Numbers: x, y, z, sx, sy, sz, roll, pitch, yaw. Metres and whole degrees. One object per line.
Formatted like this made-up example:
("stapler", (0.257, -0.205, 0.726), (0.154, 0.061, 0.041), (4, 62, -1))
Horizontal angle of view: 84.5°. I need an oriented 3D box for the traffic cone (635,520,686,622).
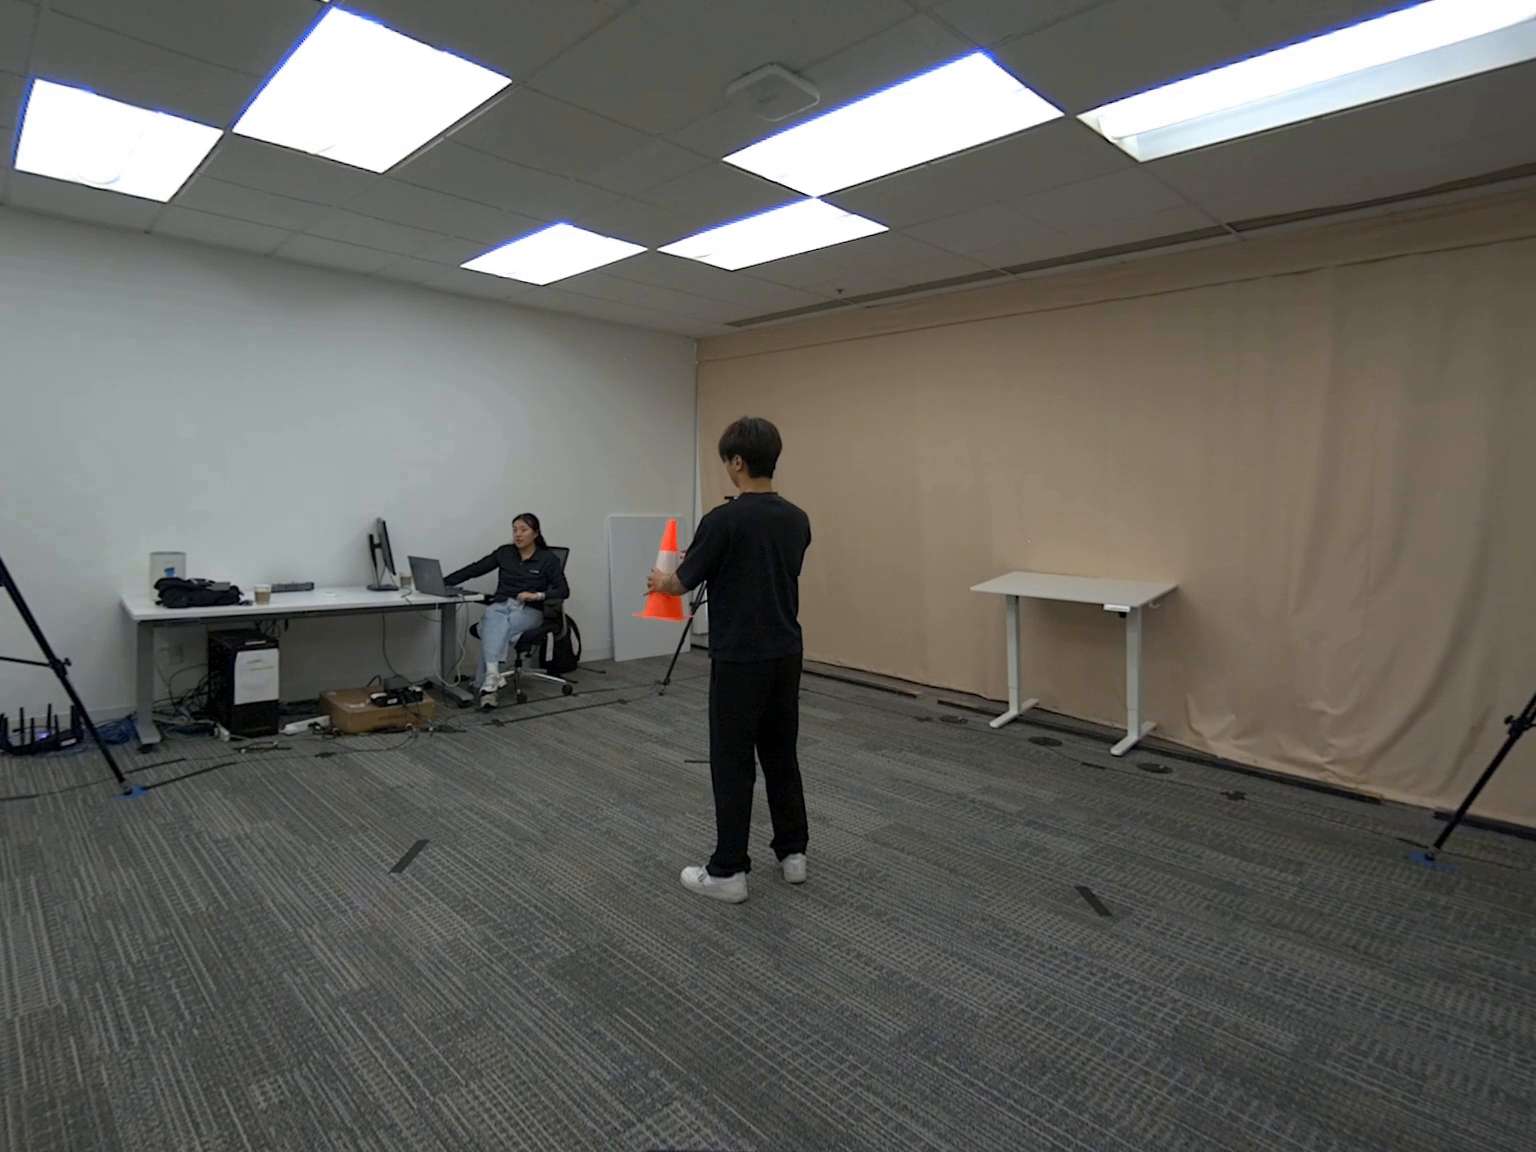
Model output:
("traffic cone", (-0.413, -0.030, 3.315), (0.210, 0.384, 0.198), (6, 0, 33))
